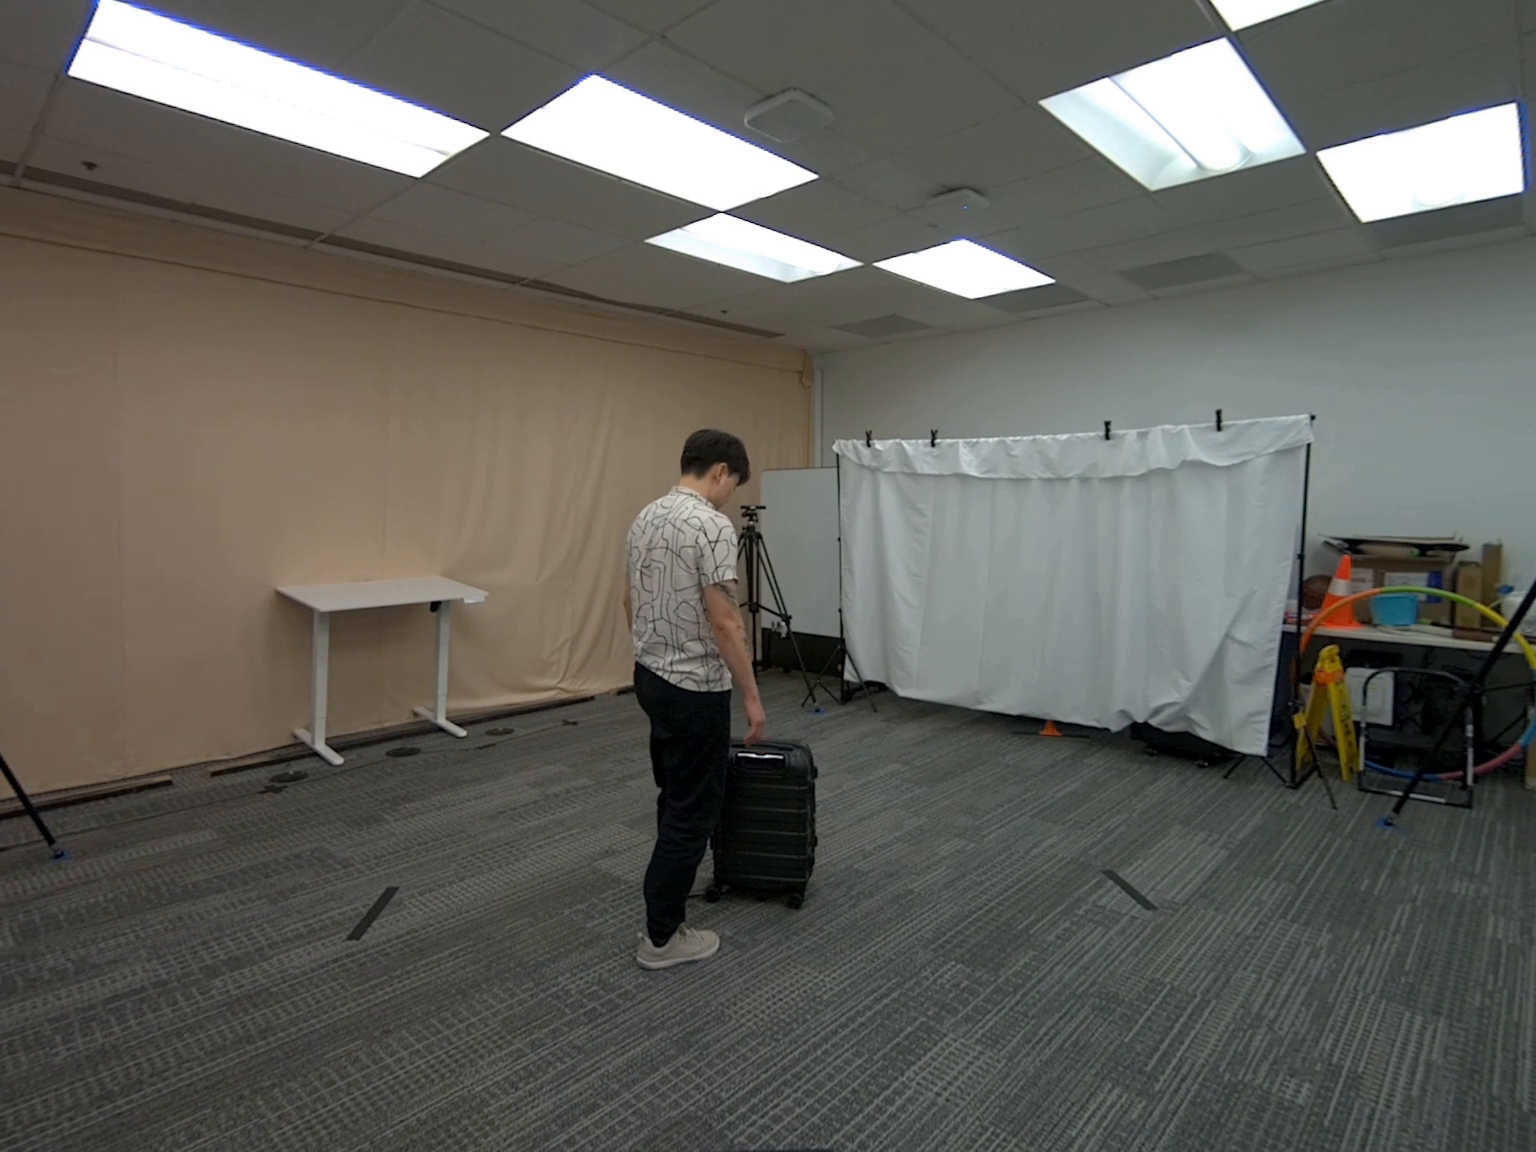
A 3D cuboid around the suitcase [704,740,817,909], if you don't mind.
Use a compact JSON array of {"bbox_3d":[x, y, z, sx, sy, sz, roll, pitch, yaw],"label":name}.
[{"bbox_3d":[-0.014,0.862,3.035,0.379,0.548,0.246,0,3,9],"label":"suitcase"}]
